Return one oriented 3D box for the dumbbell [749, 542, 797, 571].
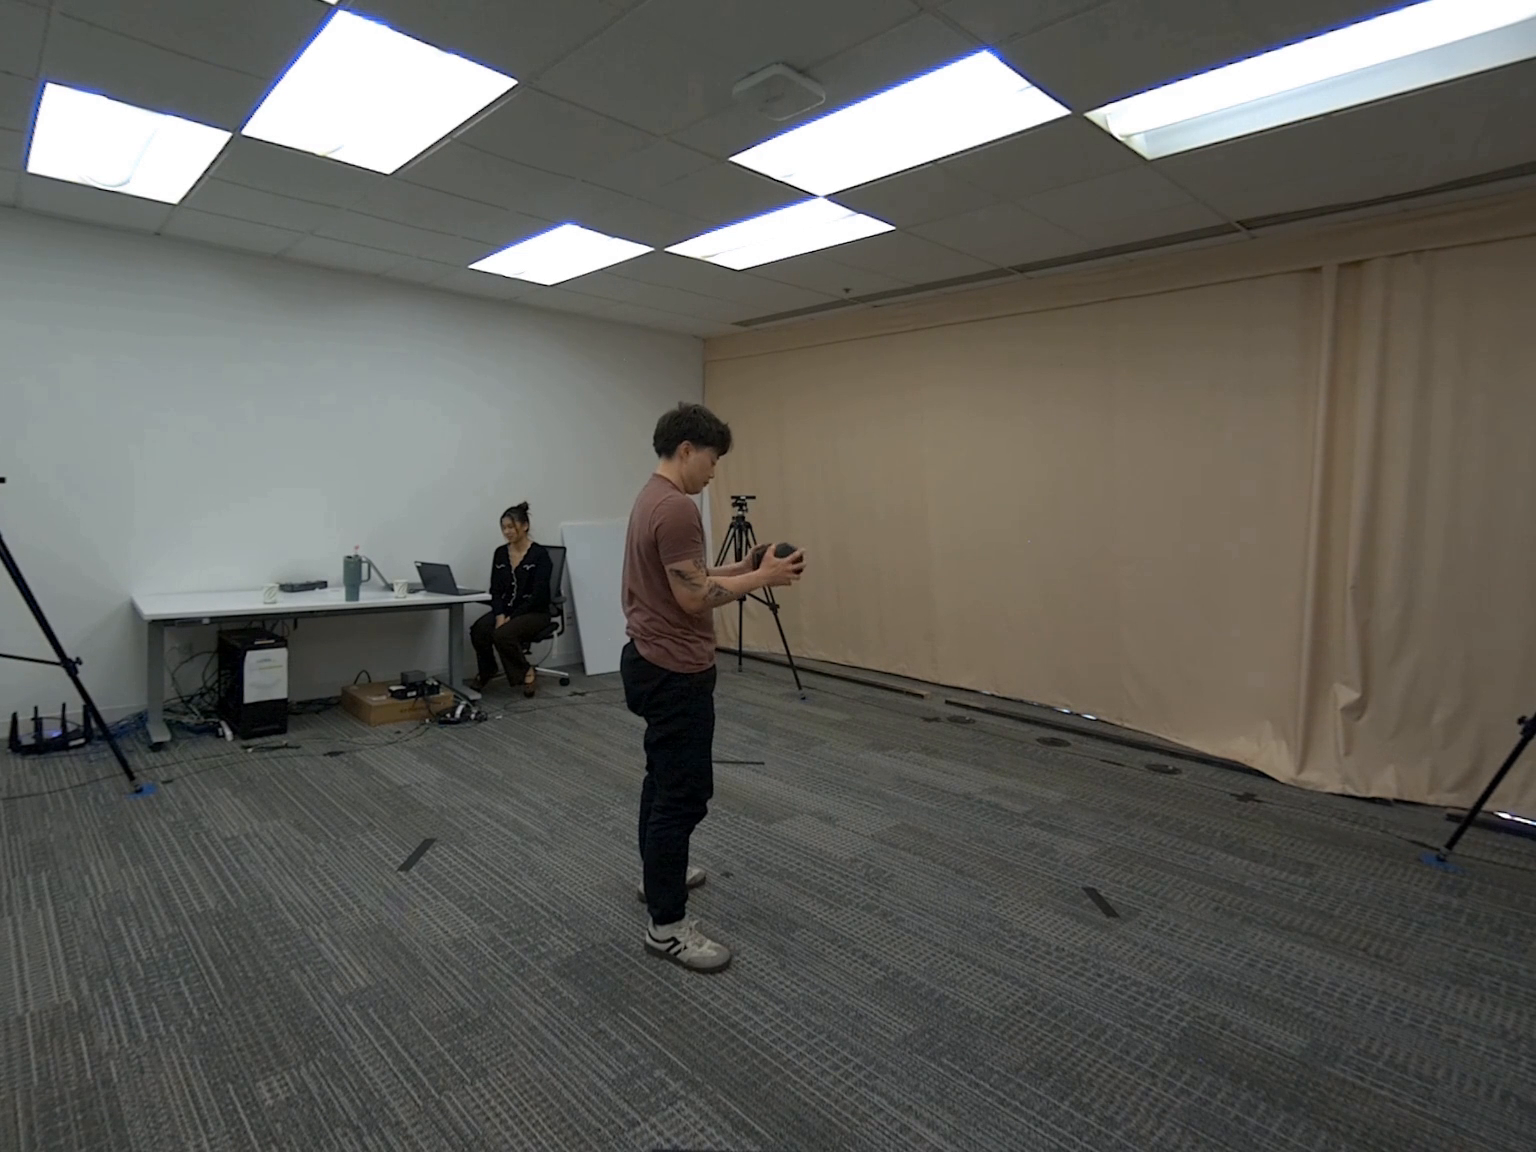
[{"bbox_3d":[0.005,-0.037,2.745,0.122,0.109,0.296,32,-6,-10],"label":"dumbbell"}]
